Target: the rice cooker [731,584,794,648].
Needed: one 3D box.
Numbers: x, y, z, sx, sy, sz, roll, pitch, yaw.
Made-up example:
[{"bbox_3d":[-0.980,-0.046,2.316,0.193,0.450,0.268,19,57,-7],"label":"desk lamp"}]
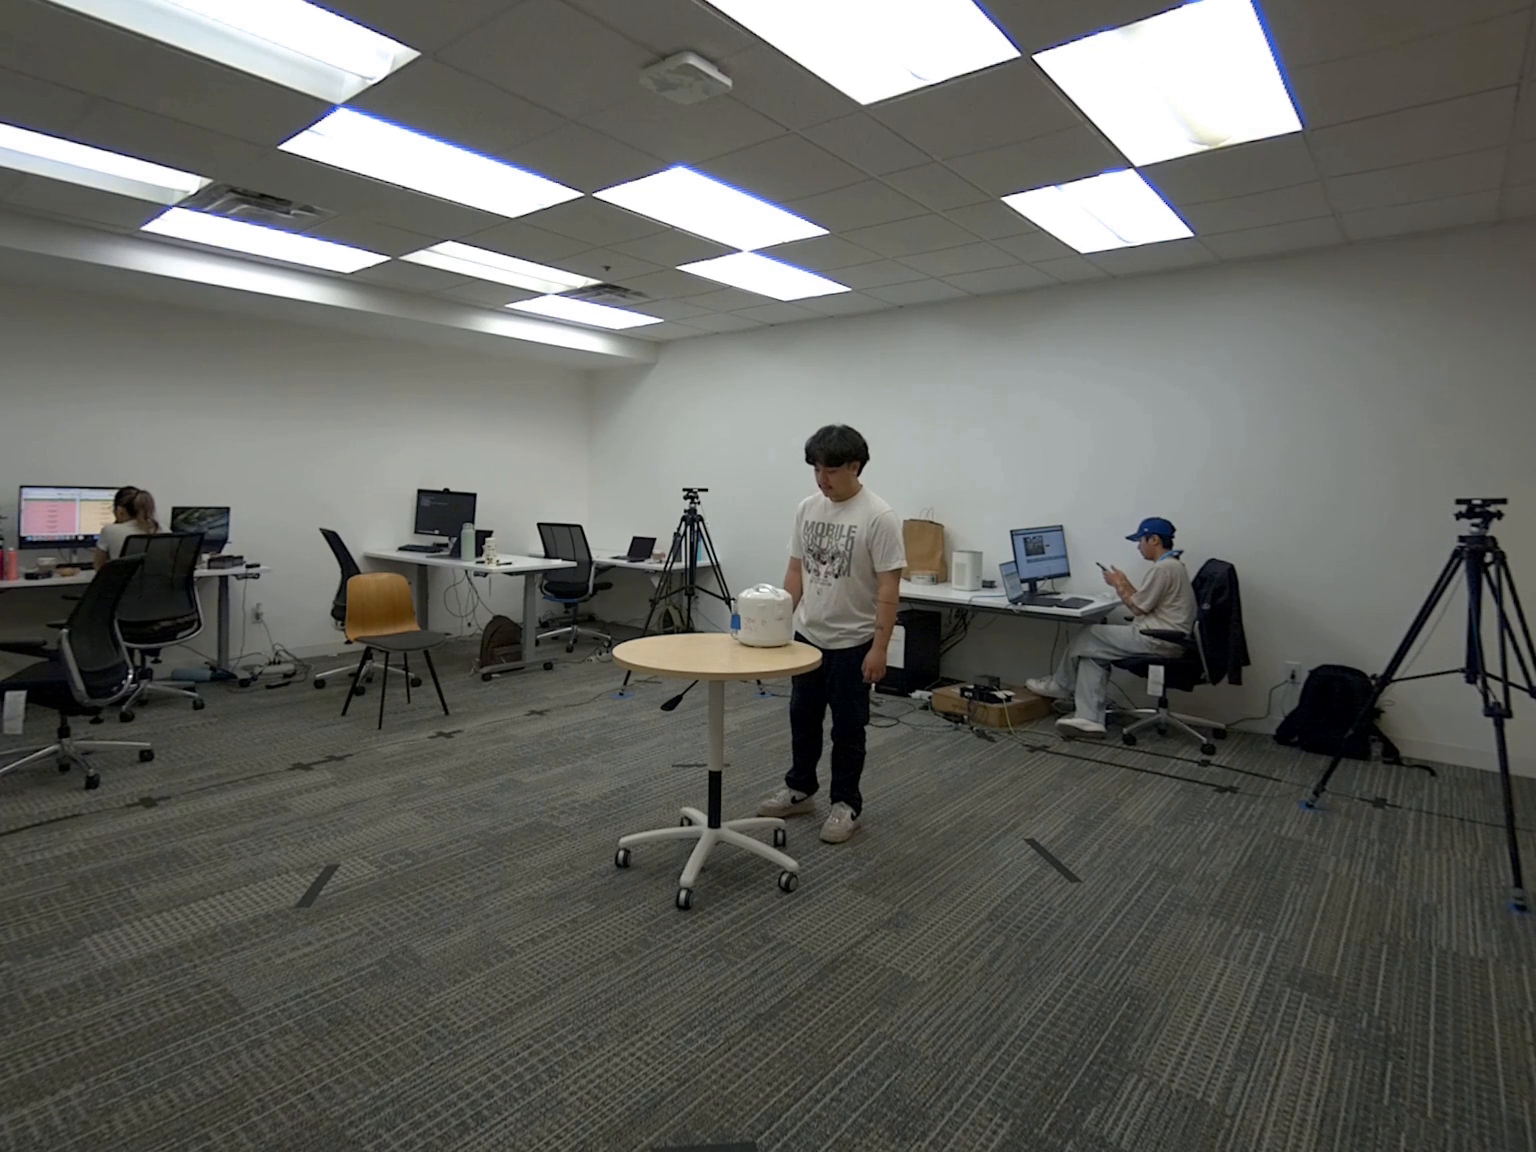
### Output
[{"bbox_3d":[-0.023,0.144,3.275,0.212,0.232,0.227,-2,6,-30],"label":"rice cooker"}]
